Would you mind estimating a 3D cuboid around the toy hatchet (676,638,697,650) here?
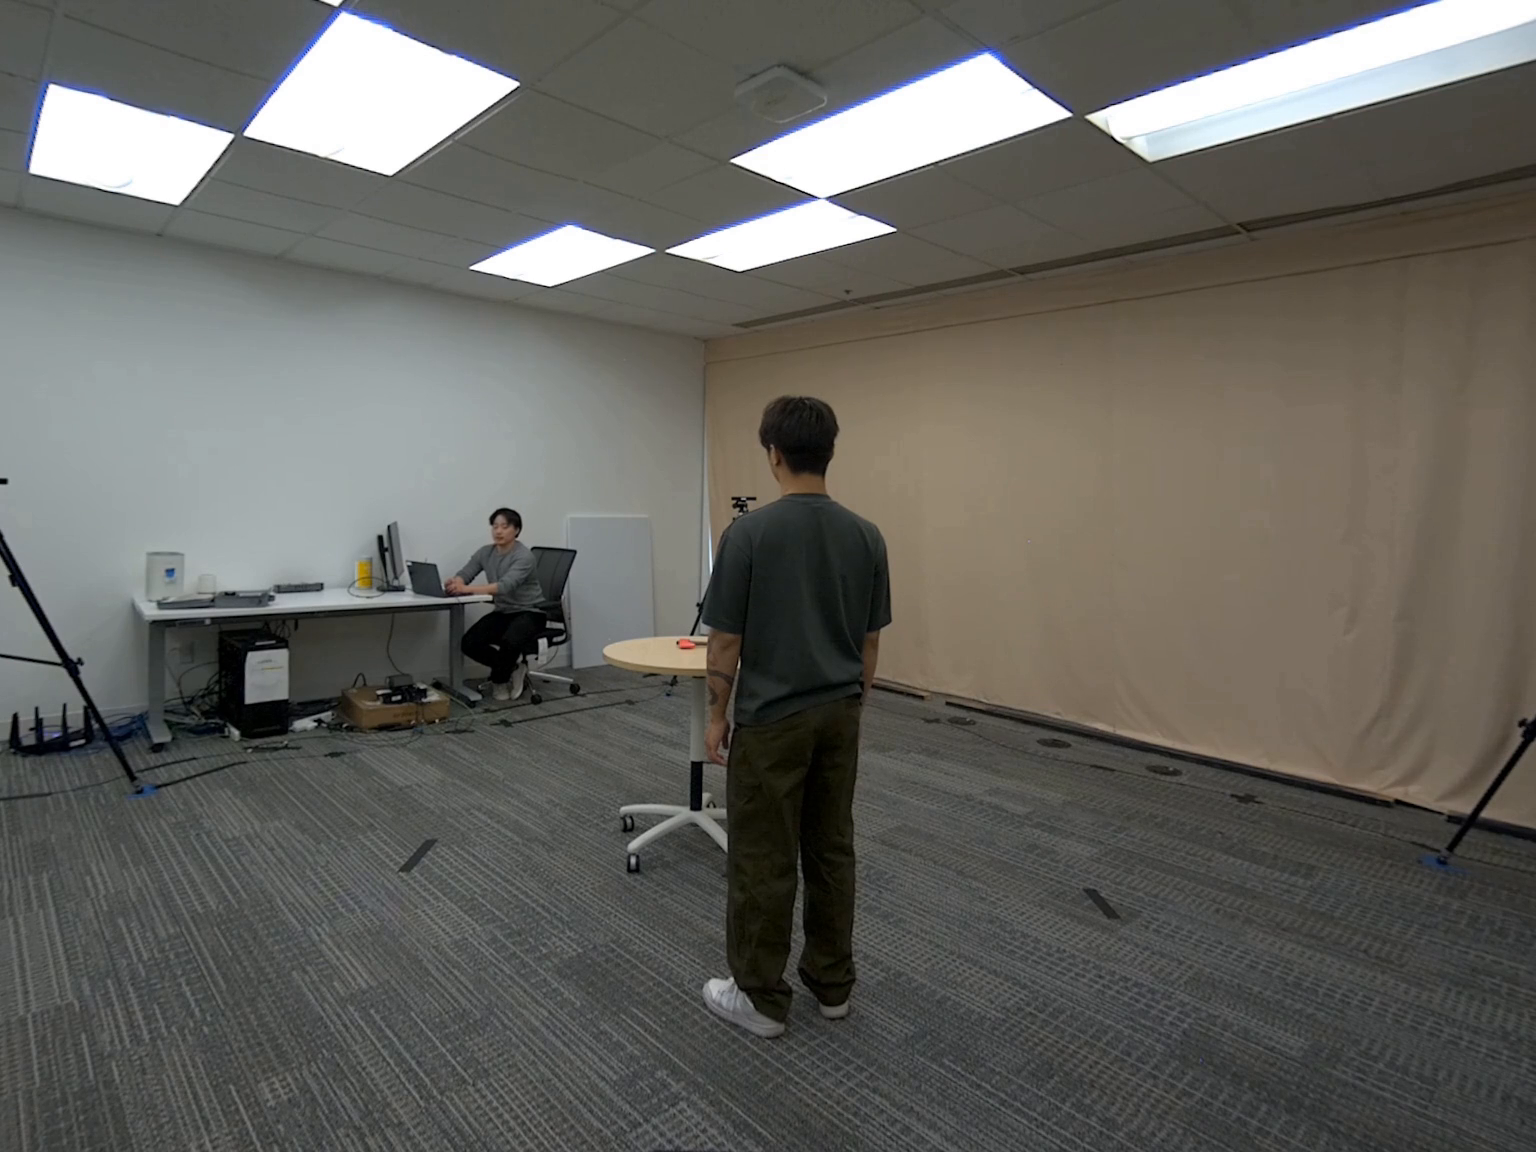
[{"bbox_3d":[-0.256,0.282,3.407,0.275,0.029,0.129,4,6,21],"label":"toy hatchet"}]
